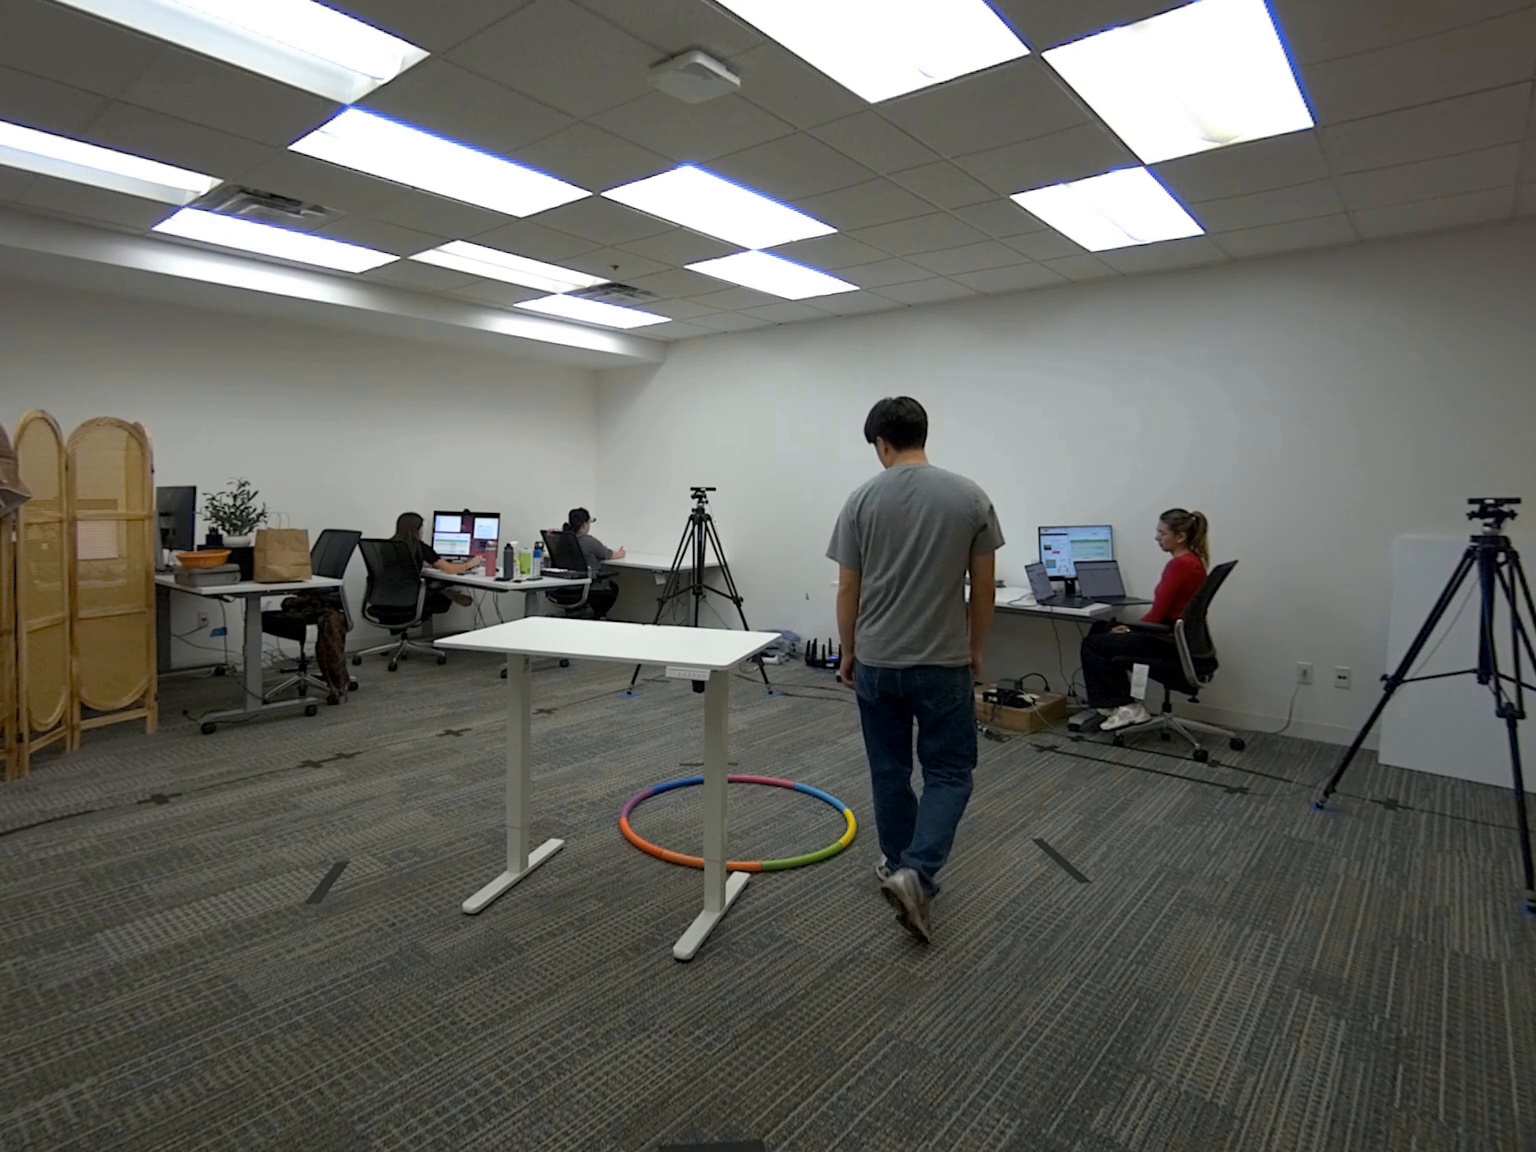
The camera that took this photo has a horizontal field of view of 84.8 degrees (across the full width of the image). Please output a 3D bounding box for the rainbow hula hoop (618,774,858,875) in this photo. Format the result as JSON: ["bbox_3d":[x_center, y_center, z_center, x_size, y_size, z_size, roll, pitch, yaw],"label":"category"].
[{"bbox_3d":[-0.135,0.996,3.551,0.978,0.035,0.984,1,6,-2],"label":"rainbow hula hoop"}]
